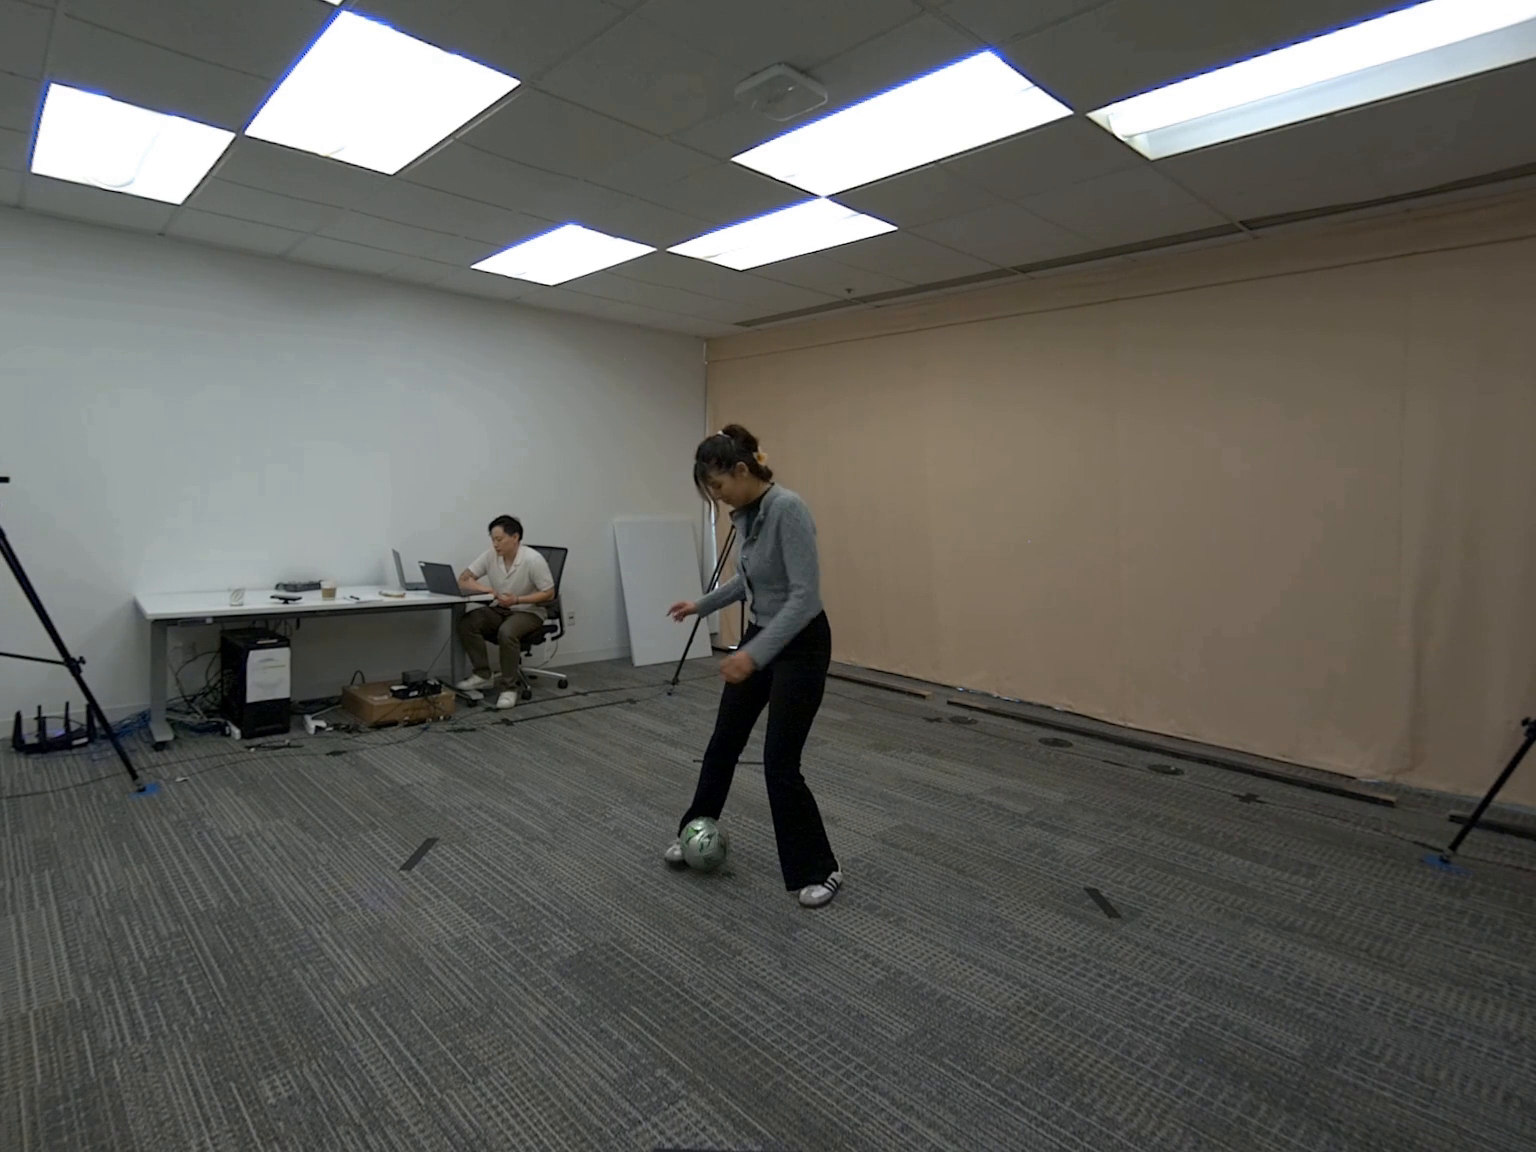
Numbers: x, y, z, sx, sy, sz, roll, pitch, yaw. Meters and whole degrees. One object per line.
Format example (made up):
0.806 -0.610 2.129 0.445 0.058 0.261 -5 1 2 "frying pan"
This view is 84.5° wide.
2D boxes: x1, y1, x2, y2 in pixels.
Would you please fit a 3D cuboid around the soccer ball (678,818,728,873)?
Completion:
-0.225 0.999 3.080 0.187 0.187 0.188 1 4 -1 "soccer ball"
